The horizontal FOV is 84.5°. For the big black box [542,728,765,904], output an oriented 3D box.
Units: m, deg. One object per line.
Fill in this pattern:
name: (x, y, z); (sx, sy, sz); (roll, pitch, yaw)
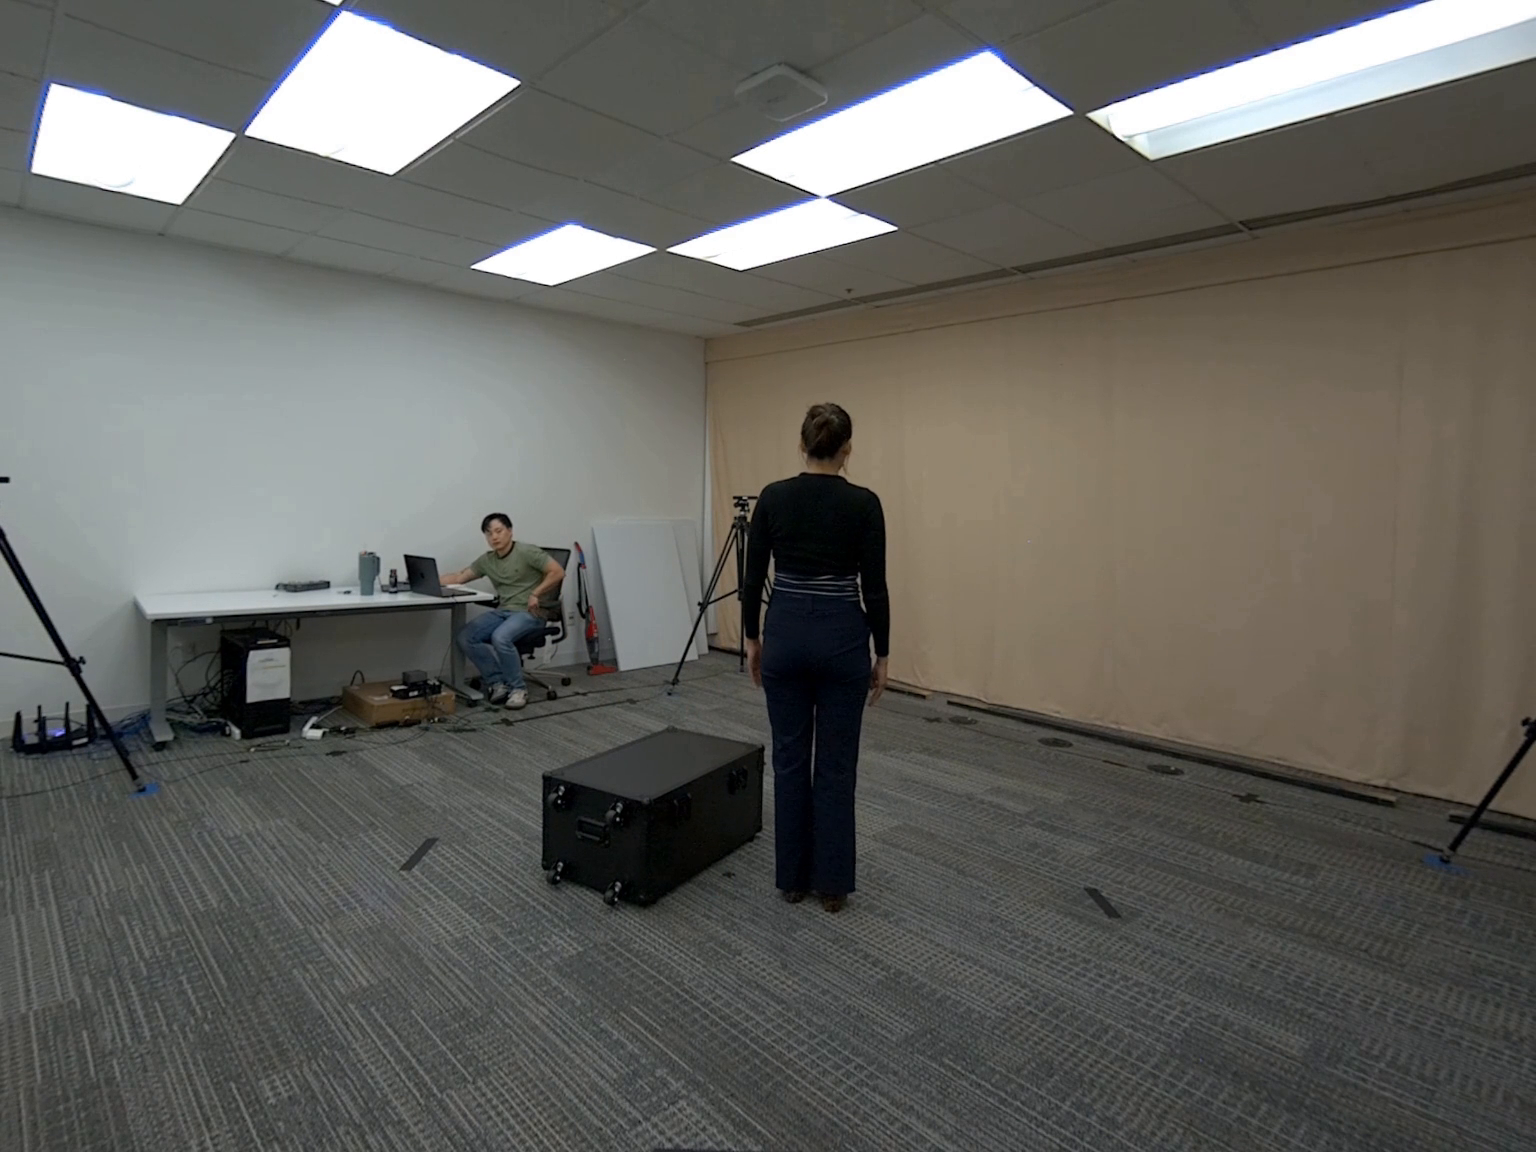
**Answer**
big black box: (-0.443, 0.895, 3.228); (0.533, 0.395, 0.845); (4, 5, 30)
